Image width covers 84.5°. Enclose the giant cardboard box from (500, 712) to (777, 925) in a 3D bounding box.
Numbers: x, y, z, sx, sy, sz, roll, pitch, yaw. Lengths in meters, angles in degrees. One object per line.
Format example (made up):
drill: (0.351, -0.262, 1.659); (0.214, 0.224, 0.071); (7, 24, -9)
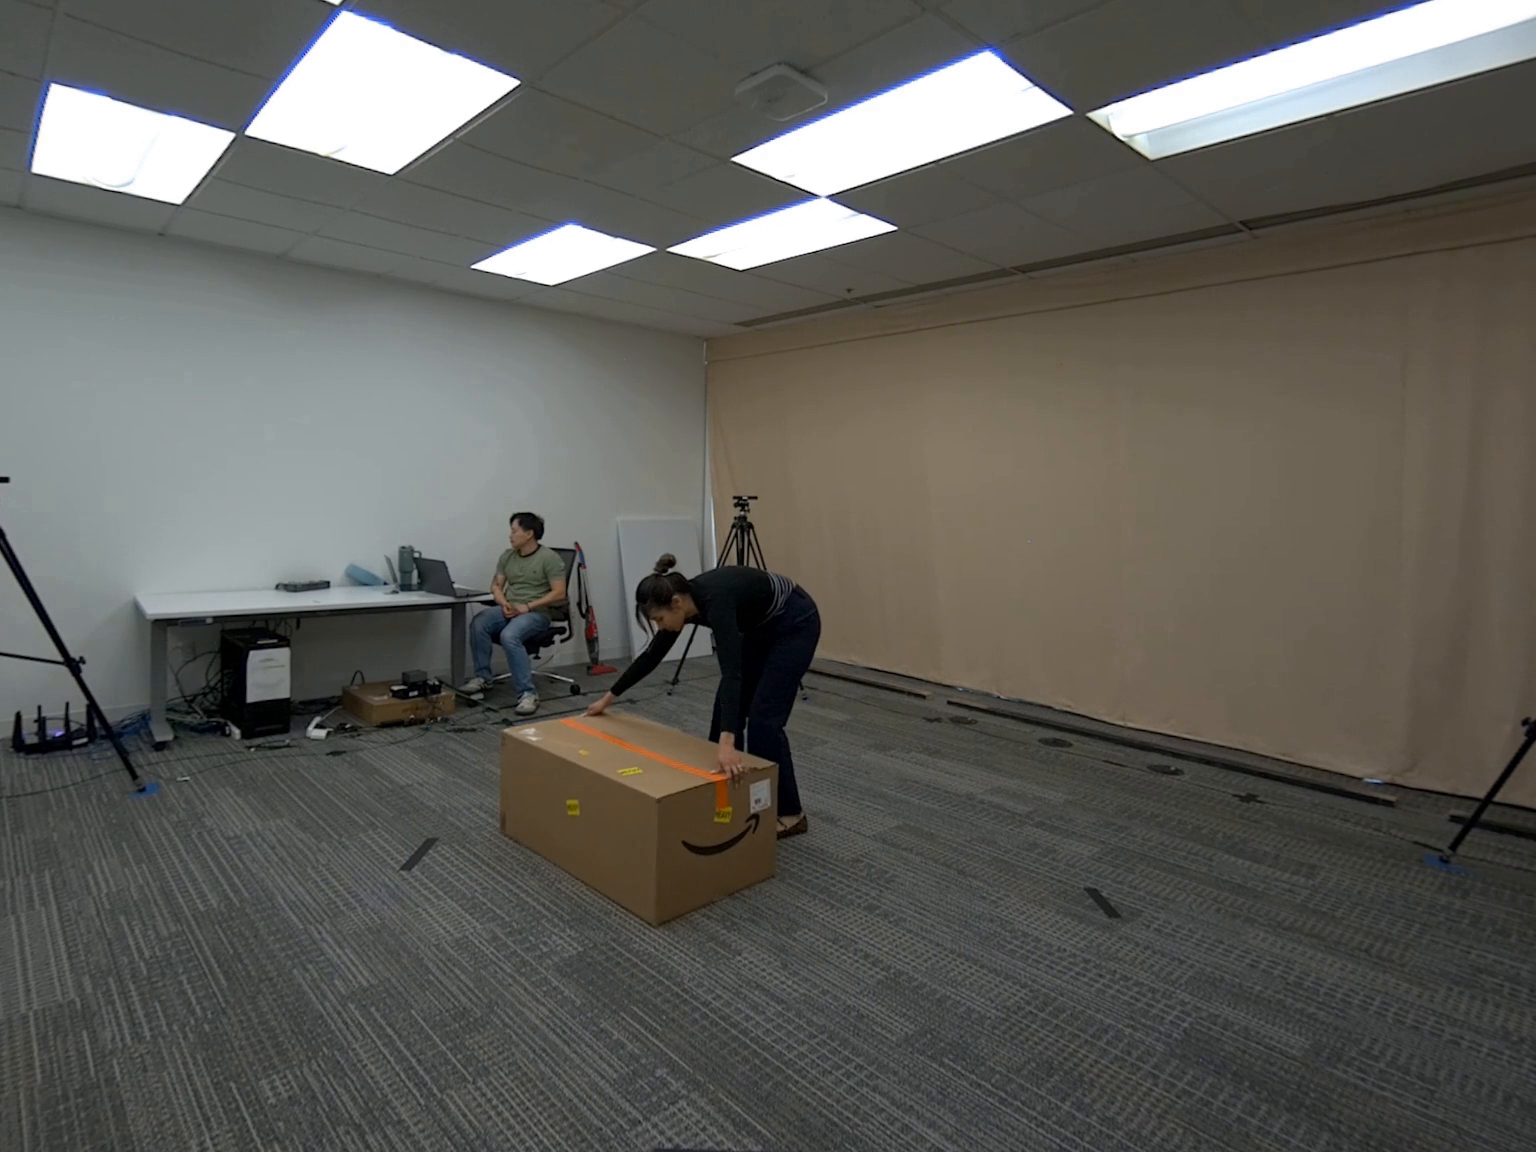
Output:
giant cardboard box: (-0.534, 0.867, 3.260); (1.052, 0.425, 0.564); (6, 7, 45)
